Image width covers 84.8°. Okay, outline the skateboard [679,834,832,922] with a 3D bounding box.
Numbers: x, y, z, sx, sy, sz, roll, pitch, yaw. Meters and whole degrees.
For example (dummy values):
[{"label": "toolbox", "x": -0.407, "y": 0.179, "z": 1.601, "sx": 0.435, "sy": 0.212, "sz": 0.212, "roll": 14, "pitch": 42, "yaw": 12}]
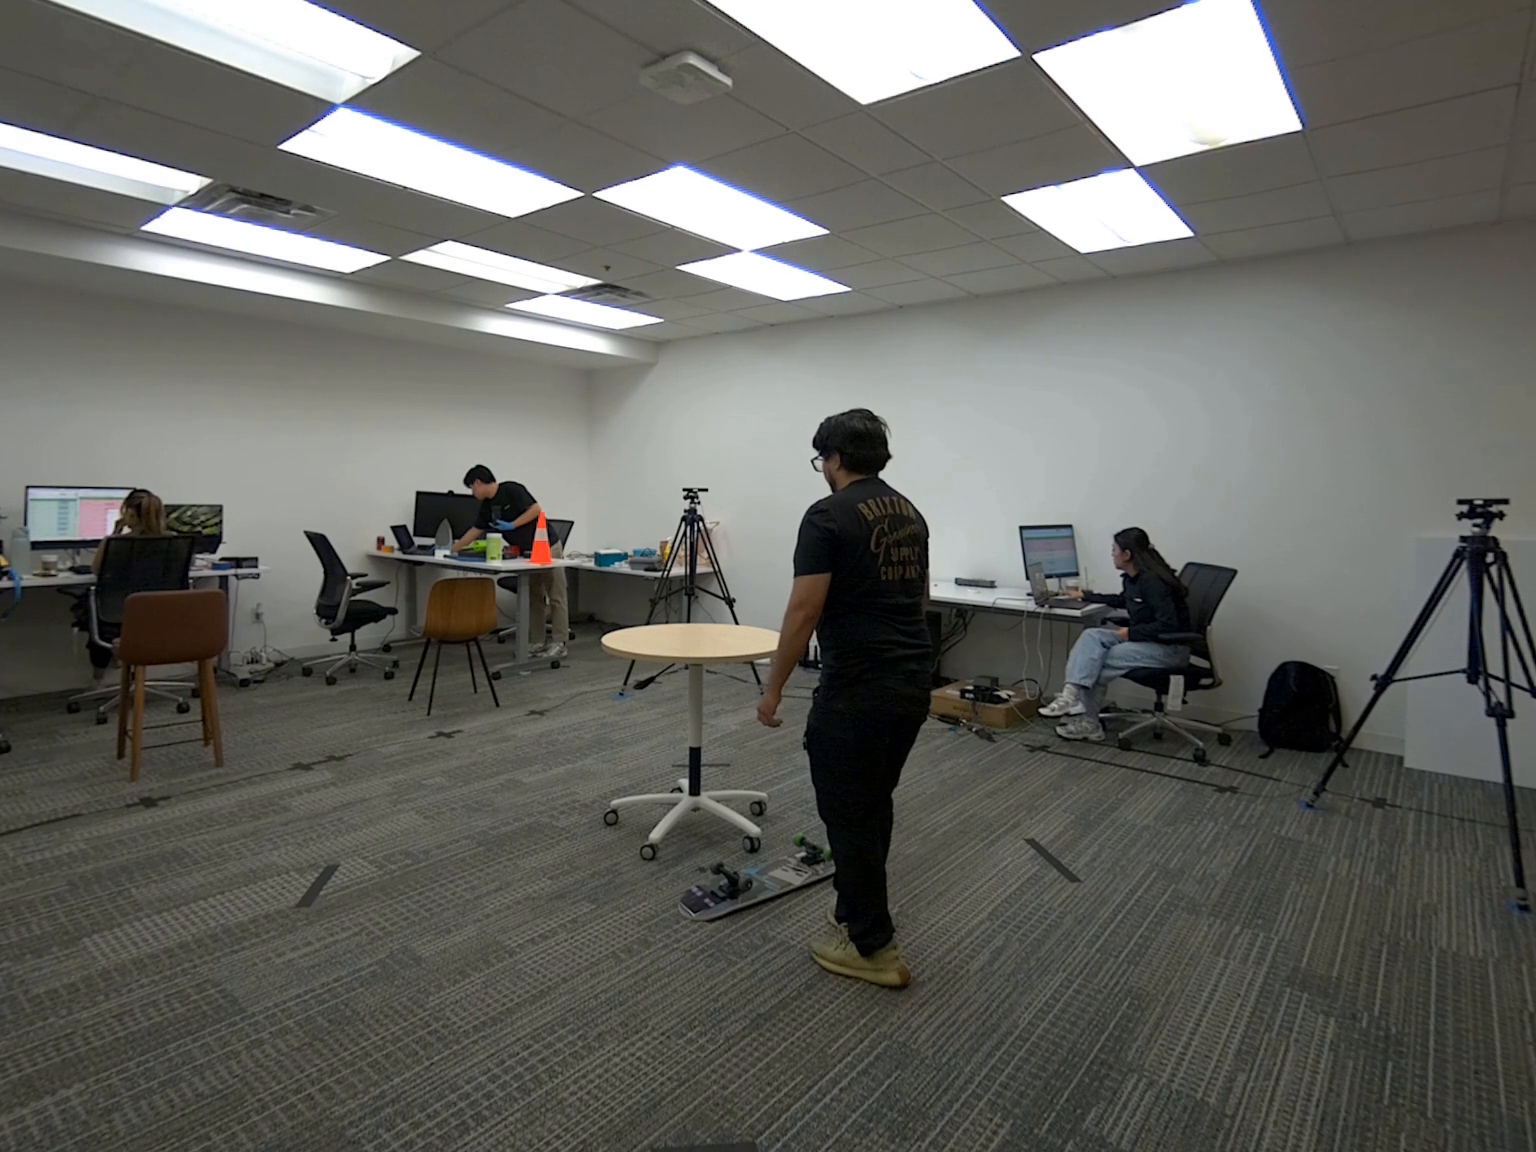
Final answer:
[{"label": "skateboard", "x": 0.018, "y": 1.034, "z": 3.005, "sx": 0.762, "sy": 0.110, "sz": 0.200, "roll": -4, "pitch": 8, "yaw": -40}]
